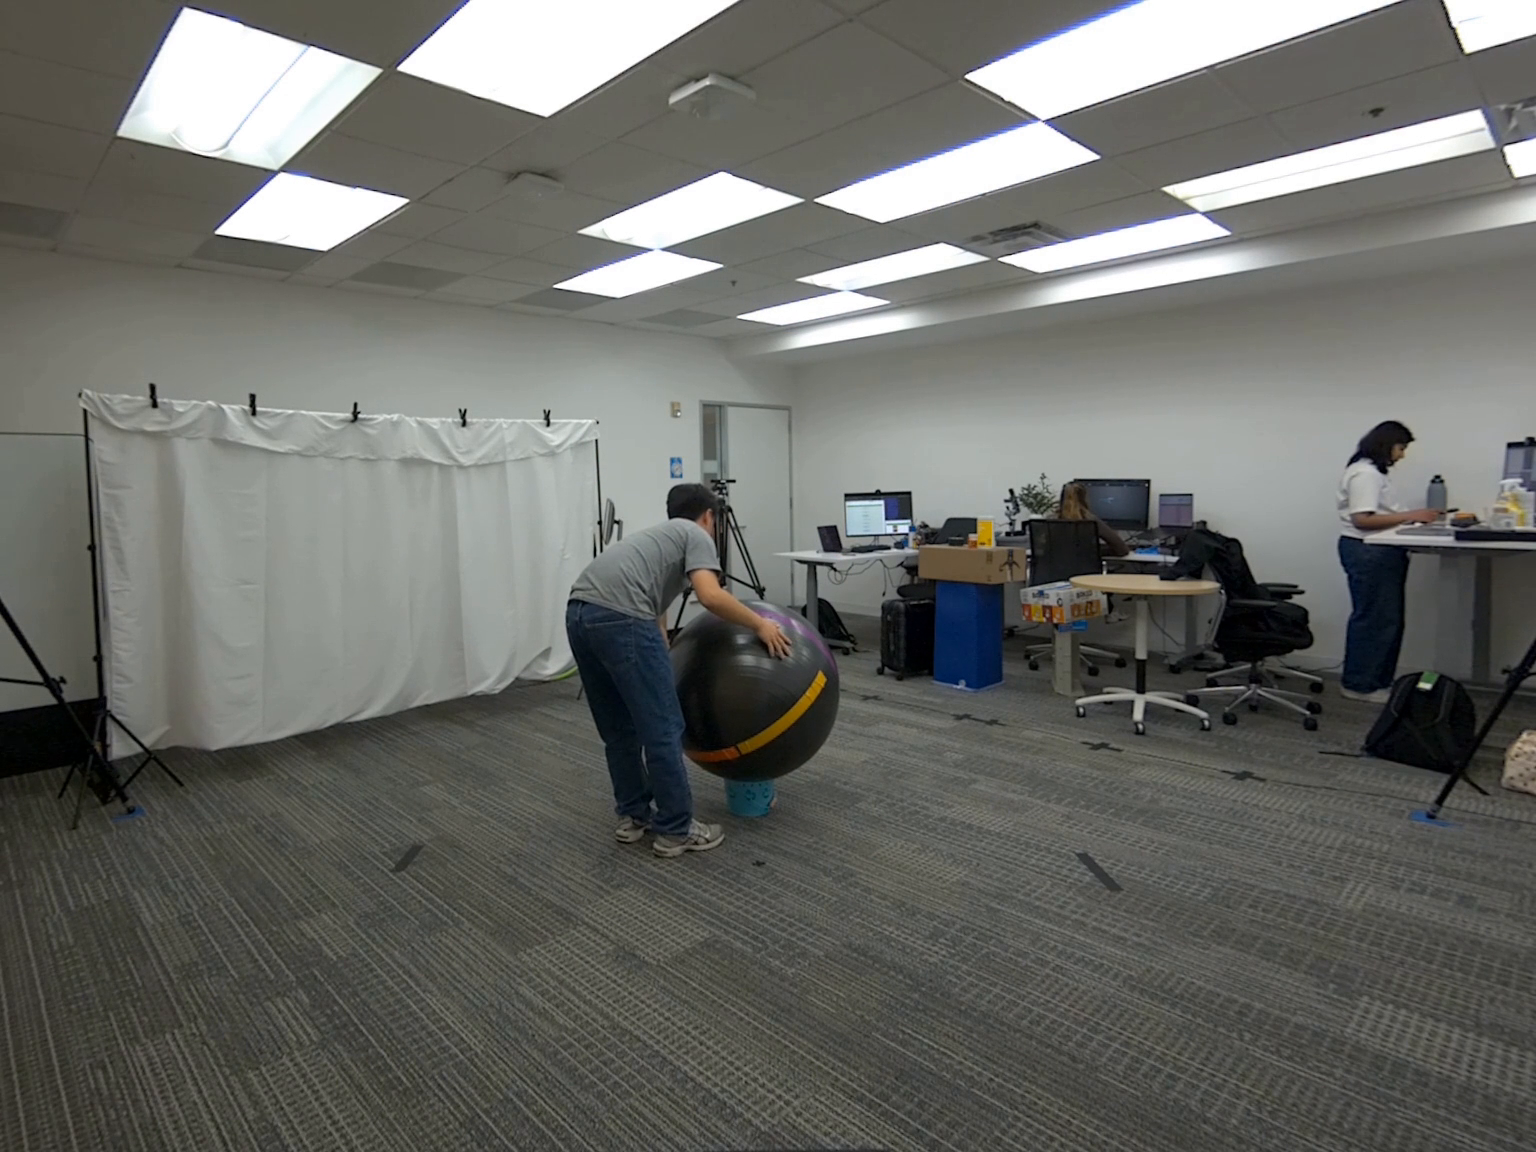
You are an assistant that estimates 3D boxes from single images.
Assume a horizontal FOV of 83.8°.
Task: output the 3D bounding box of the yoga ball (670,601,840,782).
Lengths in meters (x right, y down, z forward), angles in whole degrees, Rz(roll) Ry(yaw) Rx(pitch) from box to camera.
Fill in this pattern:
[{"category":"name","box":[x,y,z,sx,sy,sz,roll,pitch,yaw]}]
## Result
[{"category":"yoga ball","box":[-0.082,0.482,3.610,0.757,0.755,0.762,-1,5,-2]}]
